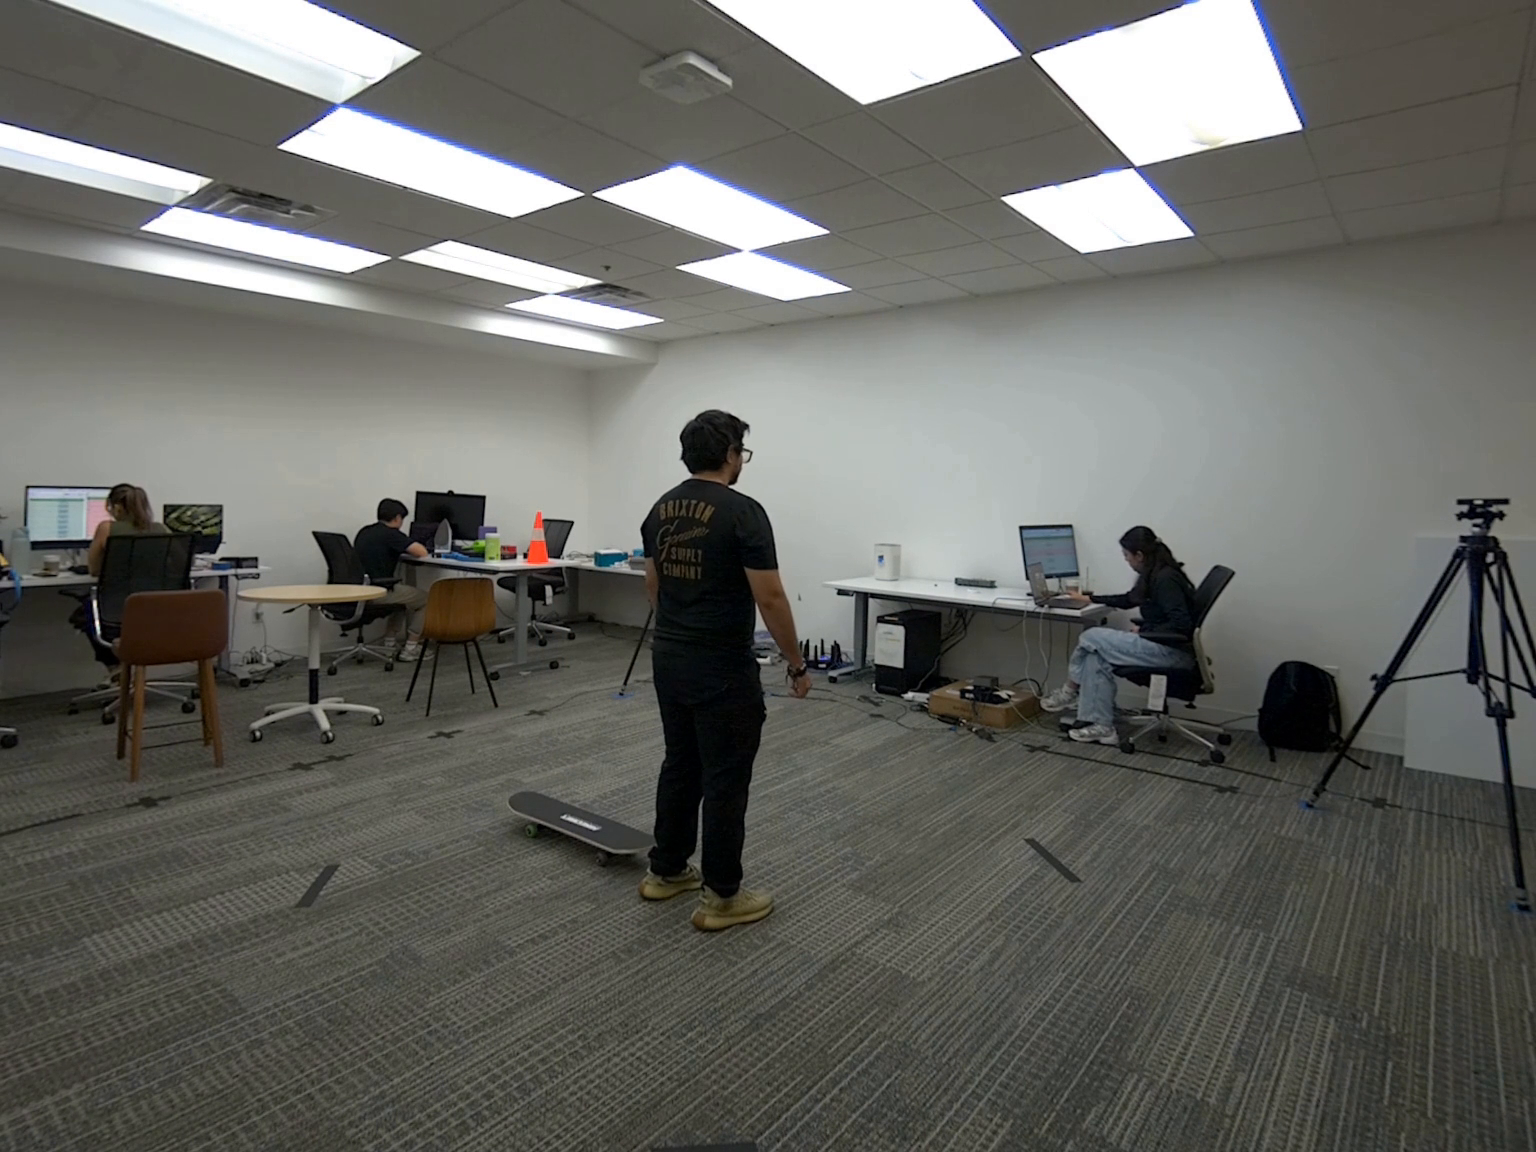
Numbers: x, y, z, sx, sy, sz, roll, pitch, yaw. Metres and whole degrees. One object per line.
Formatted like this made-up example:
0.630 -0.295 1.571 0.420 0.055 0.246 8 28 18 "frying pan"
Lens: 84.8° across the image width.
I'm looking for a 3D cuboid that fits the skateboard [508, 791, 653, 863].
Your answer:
-0.738 0.984 3.301 0.811 0.110 0.188 5 7 37 "skateboard"
